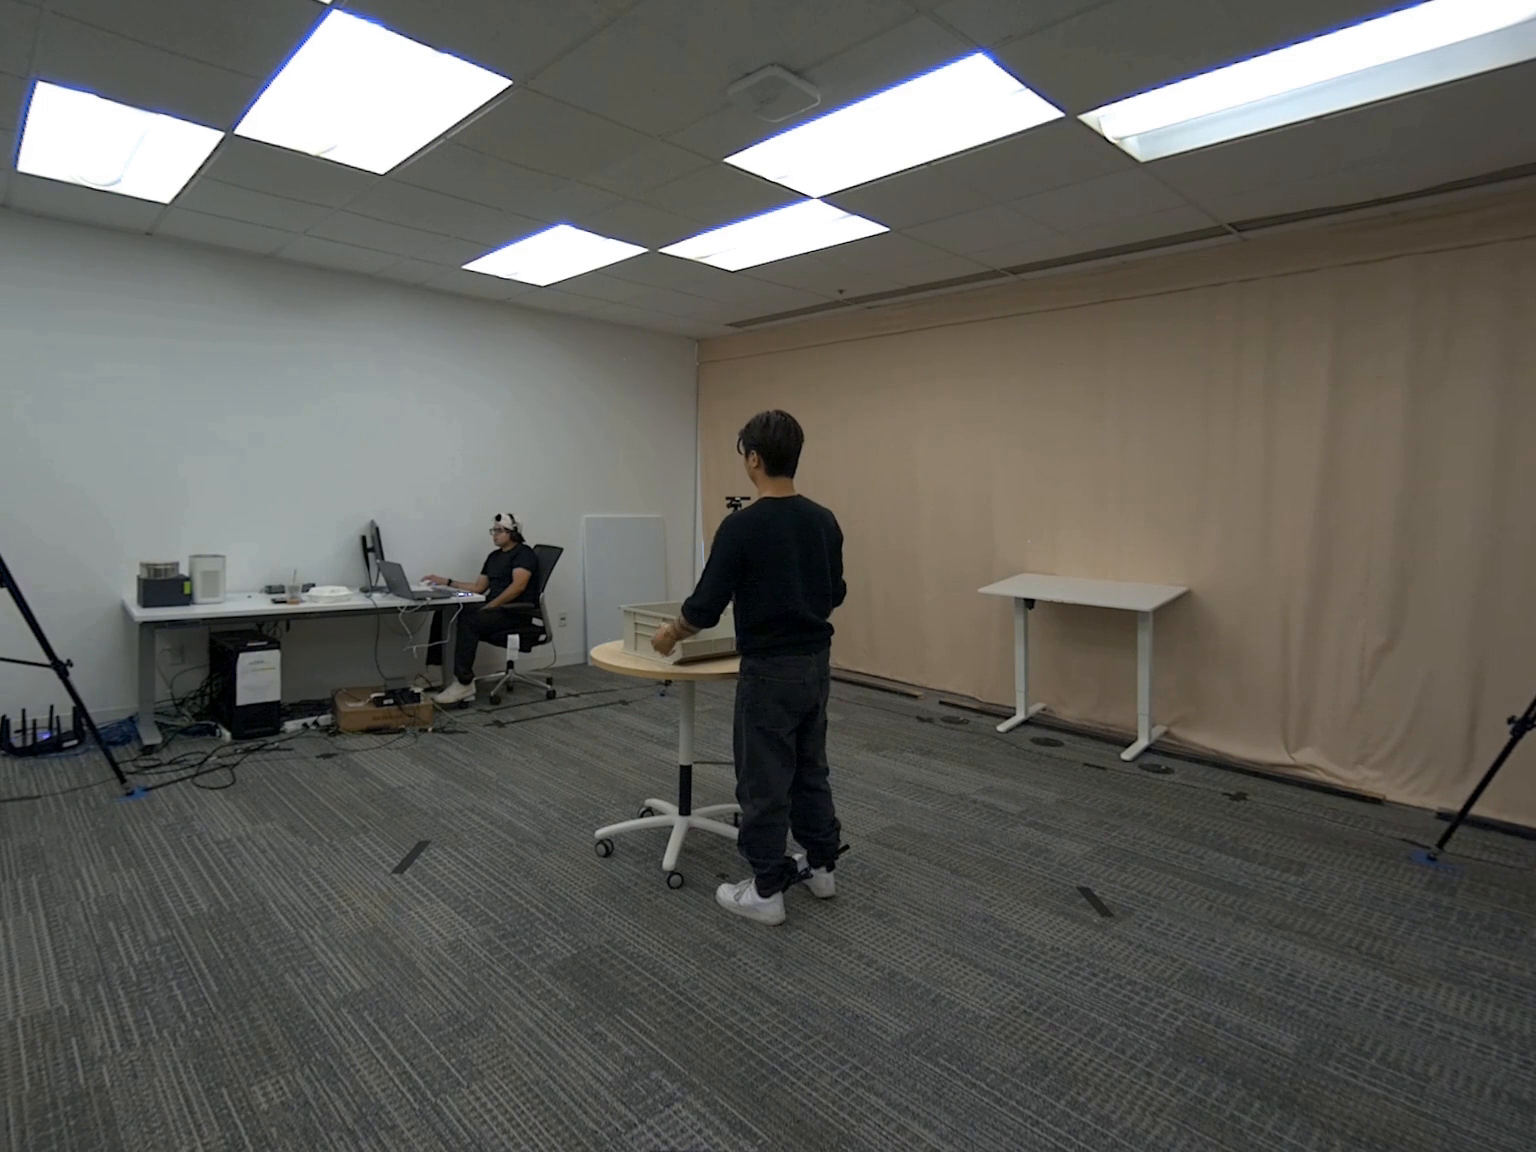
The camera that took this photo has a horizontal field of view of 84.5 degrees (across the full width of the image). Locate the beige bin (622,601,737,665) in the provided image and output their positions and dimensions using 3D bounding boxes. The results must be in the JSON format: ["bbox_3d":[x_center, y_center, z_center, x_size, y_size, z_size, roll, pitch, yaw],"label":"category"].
[{"bbox_3d":[-0.301,0.215,3.268,0.413,0.188,0.387,-4,6,-44],"label":"beige bin"}]
